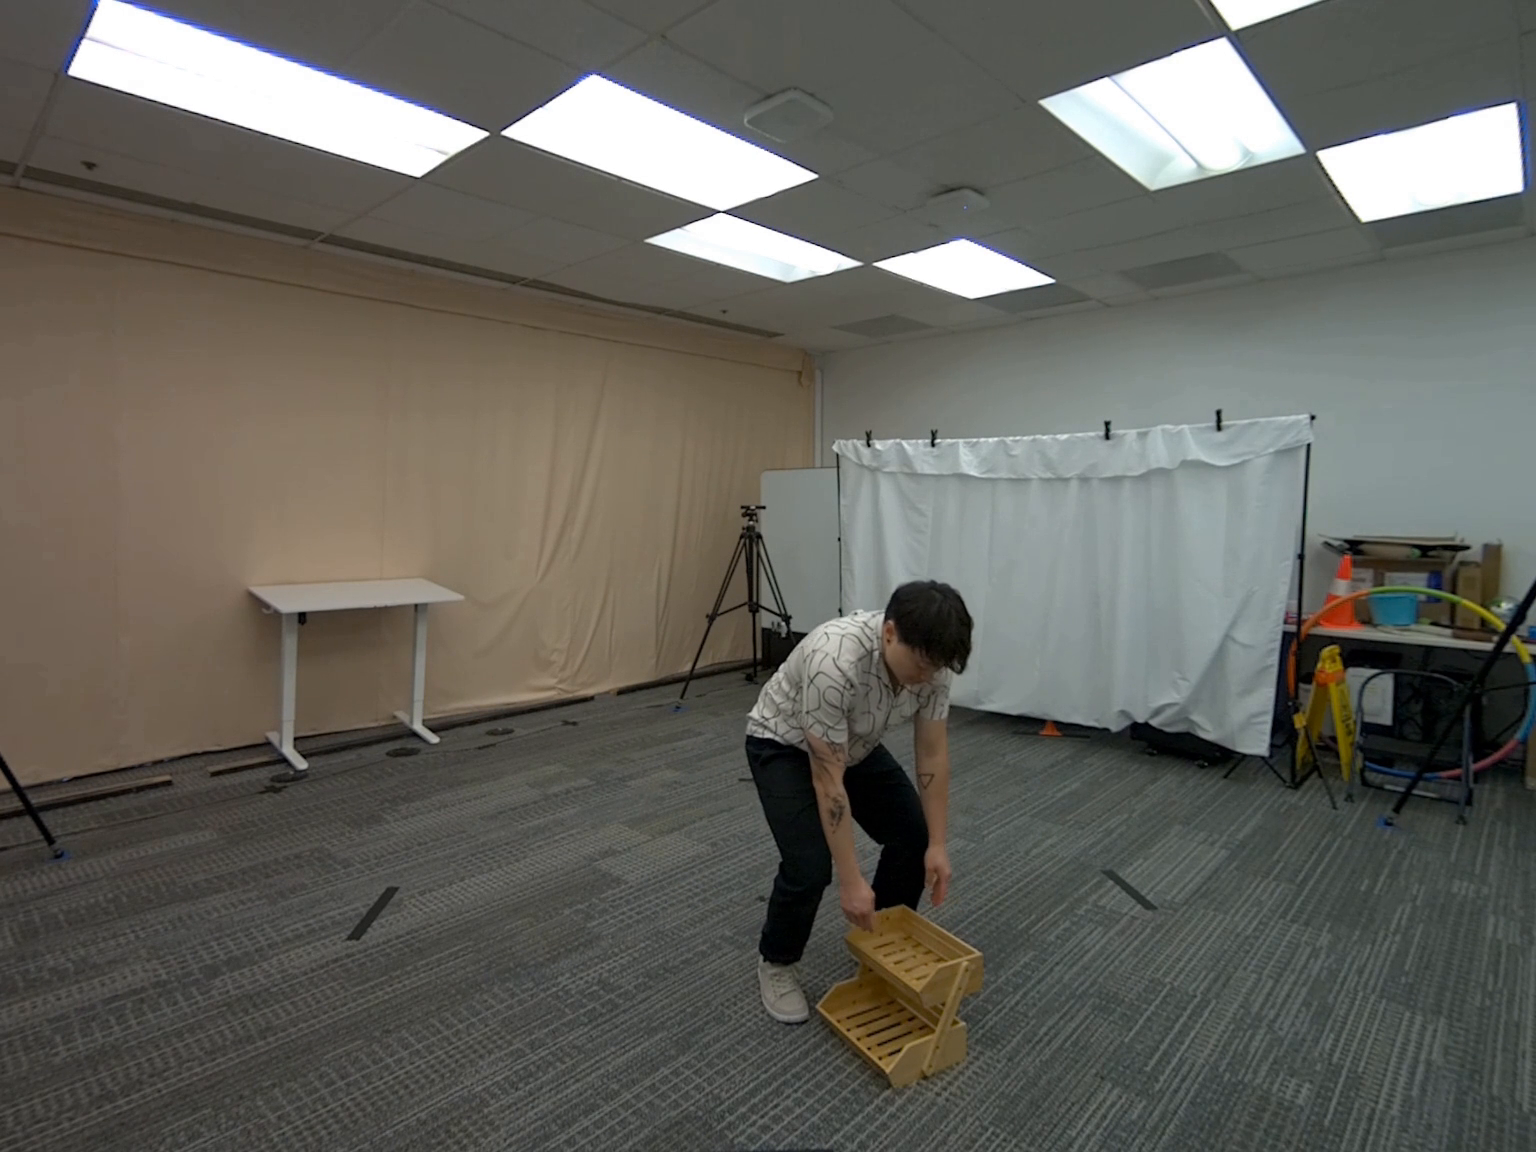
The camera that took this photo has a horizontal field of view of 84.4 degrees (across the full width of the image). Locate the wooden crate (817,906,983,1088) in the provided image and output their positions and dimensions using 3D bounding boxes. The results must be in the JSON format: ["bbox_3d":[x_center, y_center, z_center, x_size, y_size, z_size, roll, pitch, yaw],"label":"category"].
[{"bbox_3d":[0.337,1.078,2.189,0.294,0.273,0.334,-1,5,-30],"label":"wooden crate"}]
